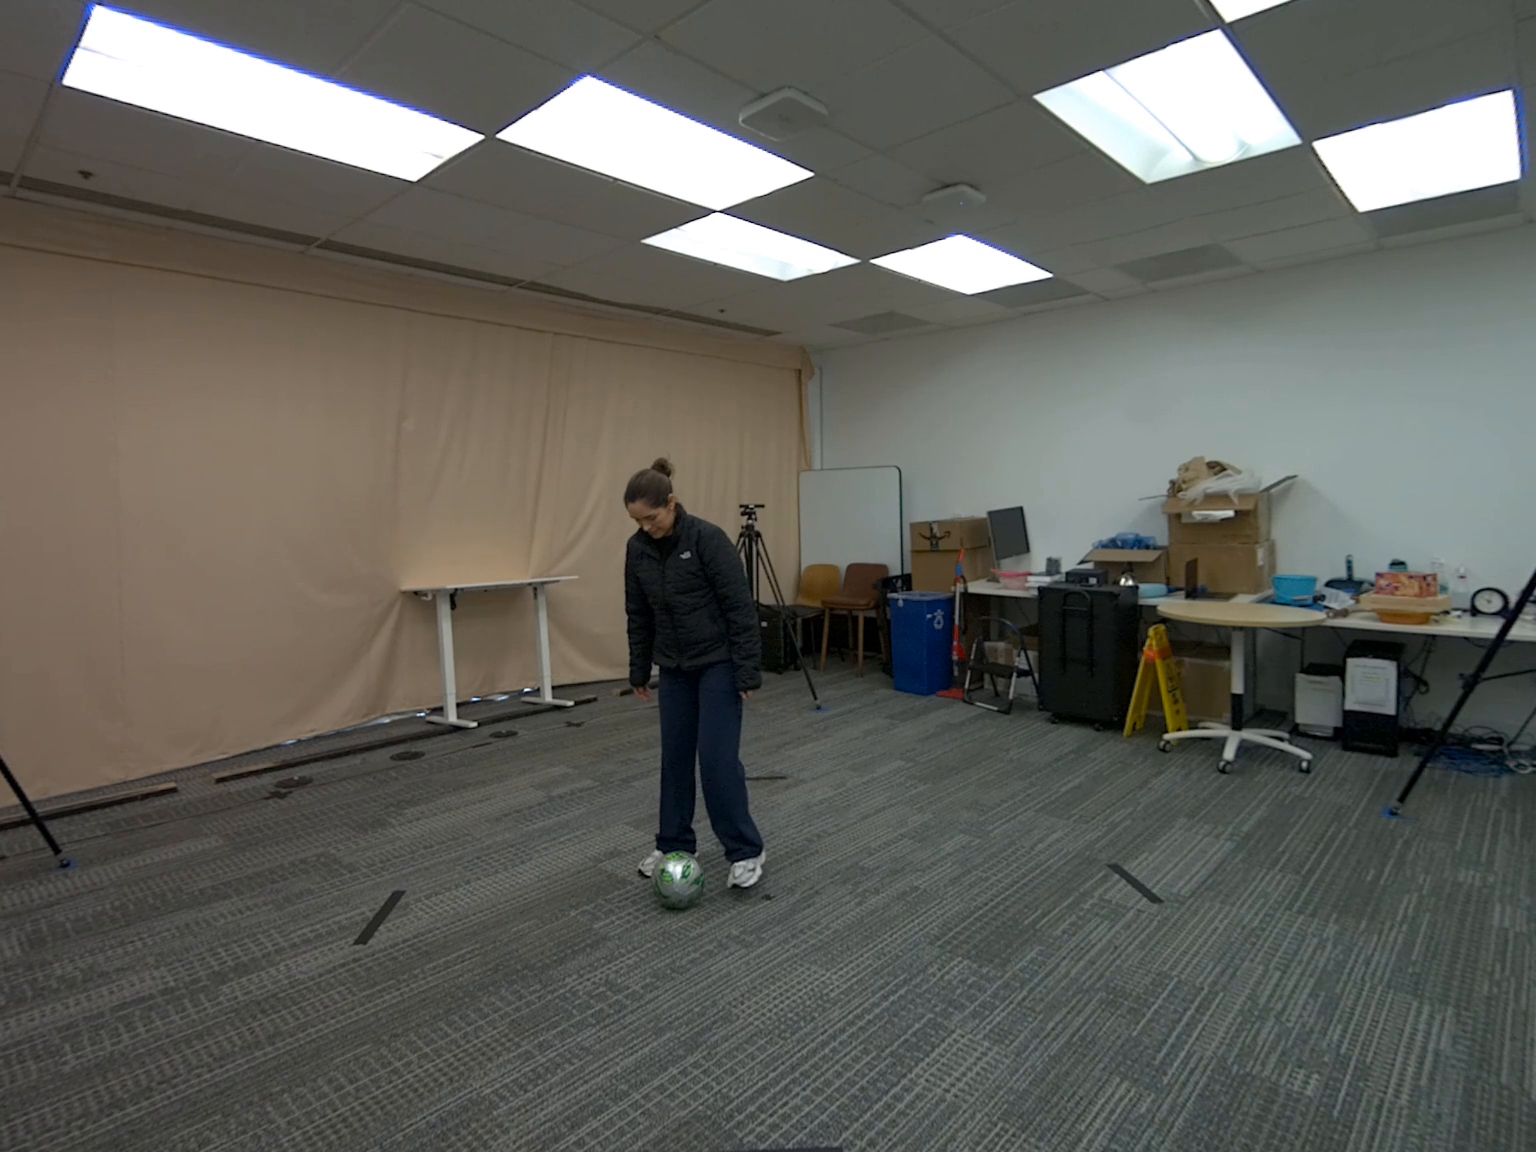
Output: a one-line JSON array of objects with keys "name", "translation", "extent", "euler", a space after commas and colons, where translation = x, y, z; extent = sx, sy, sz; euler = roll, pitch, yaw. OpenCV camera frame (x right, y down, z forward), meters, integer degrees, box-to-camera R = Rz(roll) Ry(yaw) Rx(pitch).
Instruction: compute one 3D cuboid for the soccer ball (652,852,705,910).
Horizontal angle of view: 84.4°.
[{"name": "soccer ball", "translation": [-0.316, 1.057, 2.927], "extent": [0.187, 0.187, 0.188], "euler": [-1, 4, -2]}]
